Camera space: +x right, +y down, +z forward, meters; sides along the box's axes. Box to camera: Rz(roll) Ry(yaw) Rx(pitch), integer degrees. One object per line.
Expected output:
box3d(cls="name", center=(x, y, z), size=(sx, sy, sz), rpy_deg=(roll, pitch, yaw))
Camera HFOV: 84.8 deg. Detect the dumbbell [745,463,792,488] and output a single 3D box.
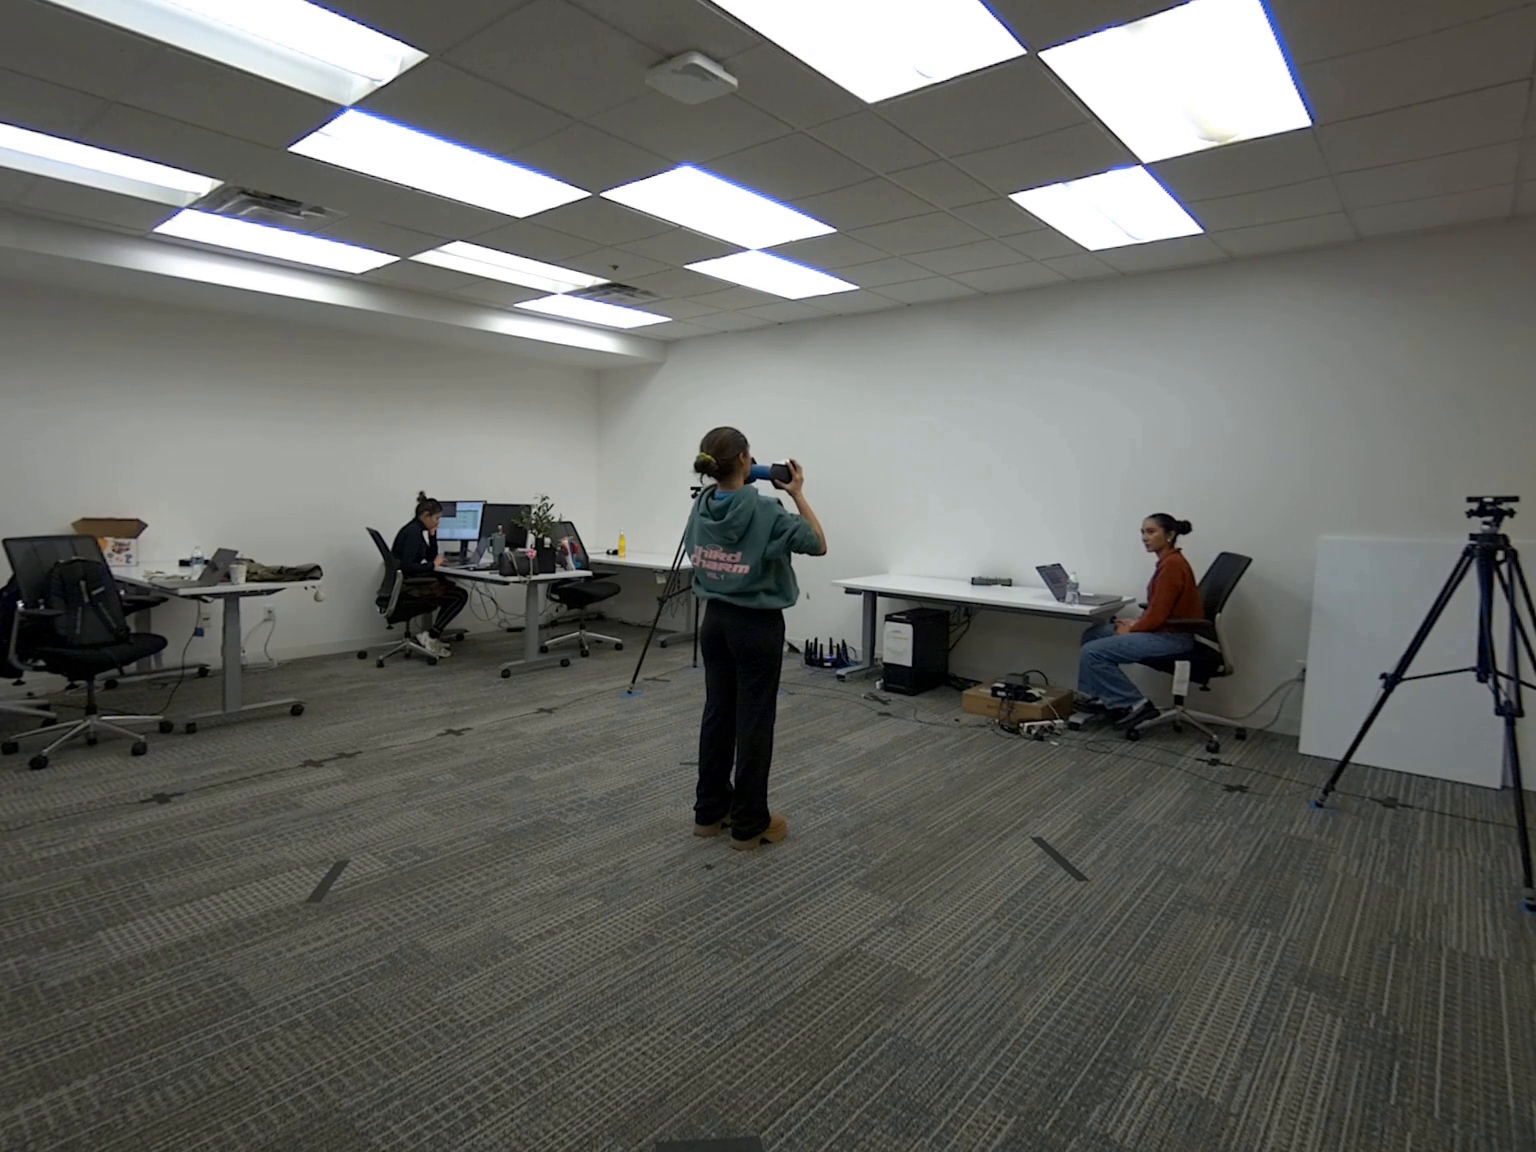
box3d(cls="dumbbell", center=(-0.035, -0.425, 3.423), size=(0.304, 0.123, 0.104), rpy_deg=(12, -7, 38))
